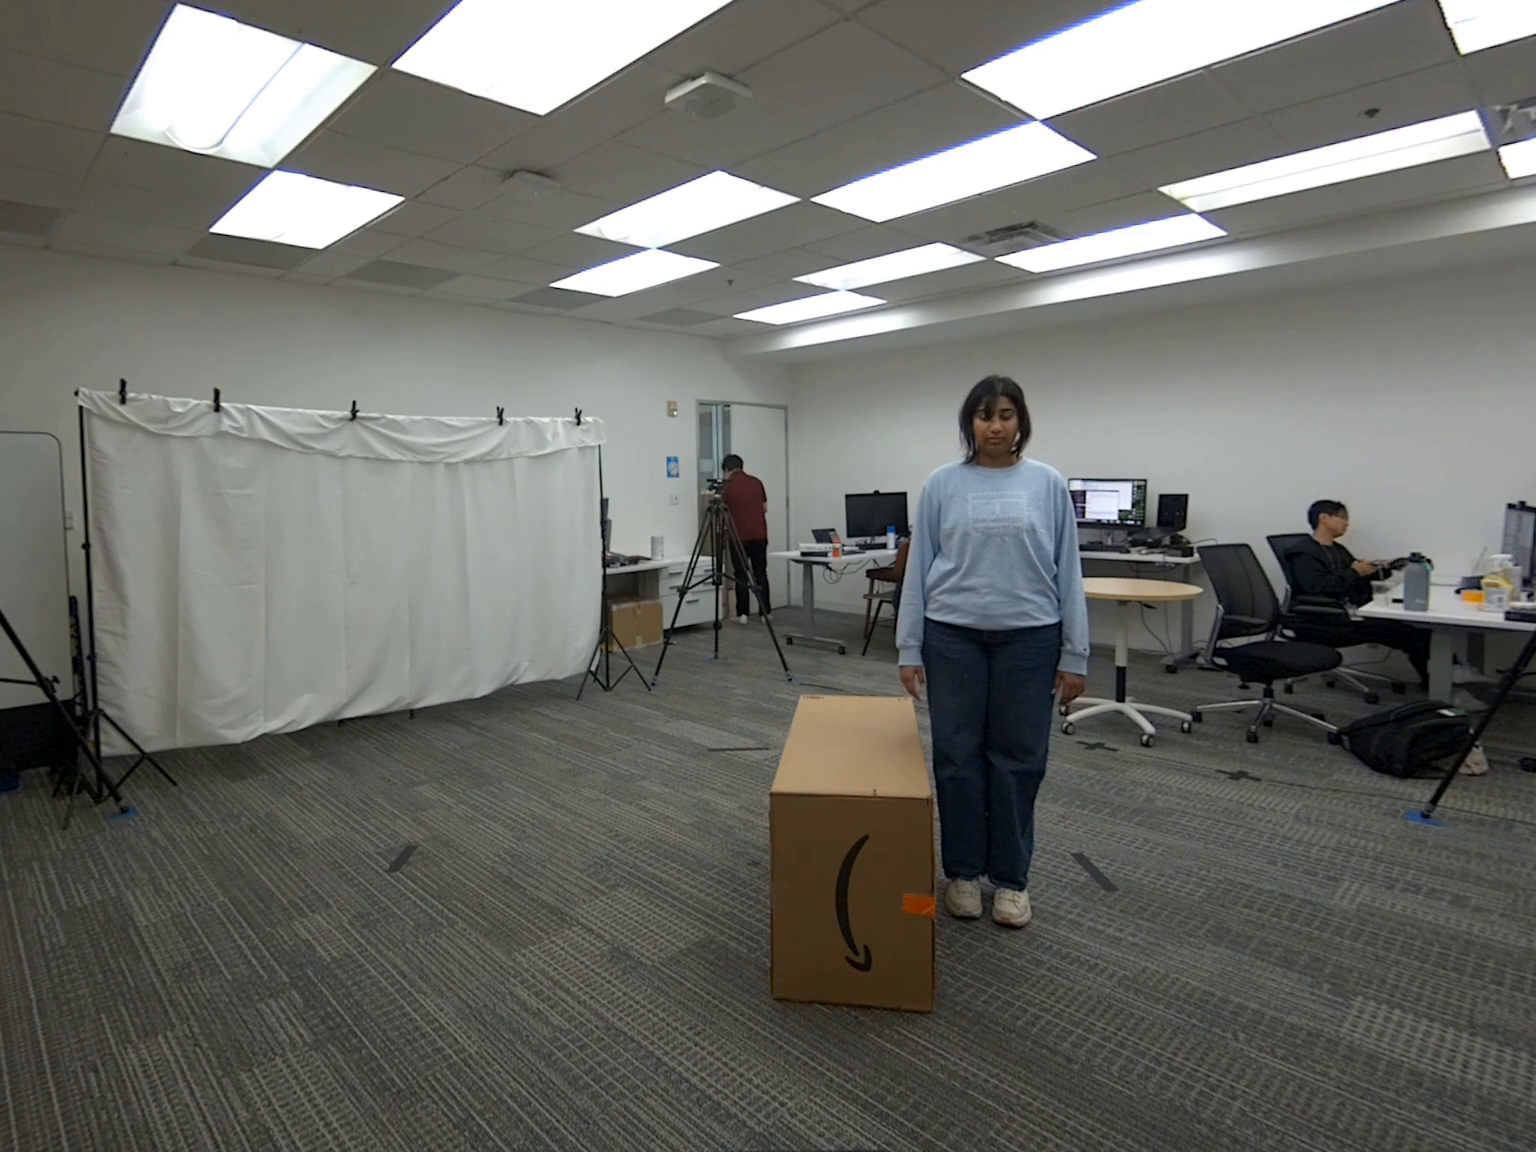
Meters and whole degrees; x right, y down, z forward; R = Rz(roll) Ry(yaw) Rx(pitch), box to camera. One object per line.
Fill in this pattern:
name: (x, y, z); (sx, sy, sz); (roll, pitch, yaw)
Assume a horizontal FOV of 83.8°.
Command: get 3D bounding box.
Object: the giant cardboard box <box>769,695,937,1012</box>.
giant cardboard box: (0.279, 0.793, 2.734); (0.430, 0.575, 1.022); (0, 6, 7)
